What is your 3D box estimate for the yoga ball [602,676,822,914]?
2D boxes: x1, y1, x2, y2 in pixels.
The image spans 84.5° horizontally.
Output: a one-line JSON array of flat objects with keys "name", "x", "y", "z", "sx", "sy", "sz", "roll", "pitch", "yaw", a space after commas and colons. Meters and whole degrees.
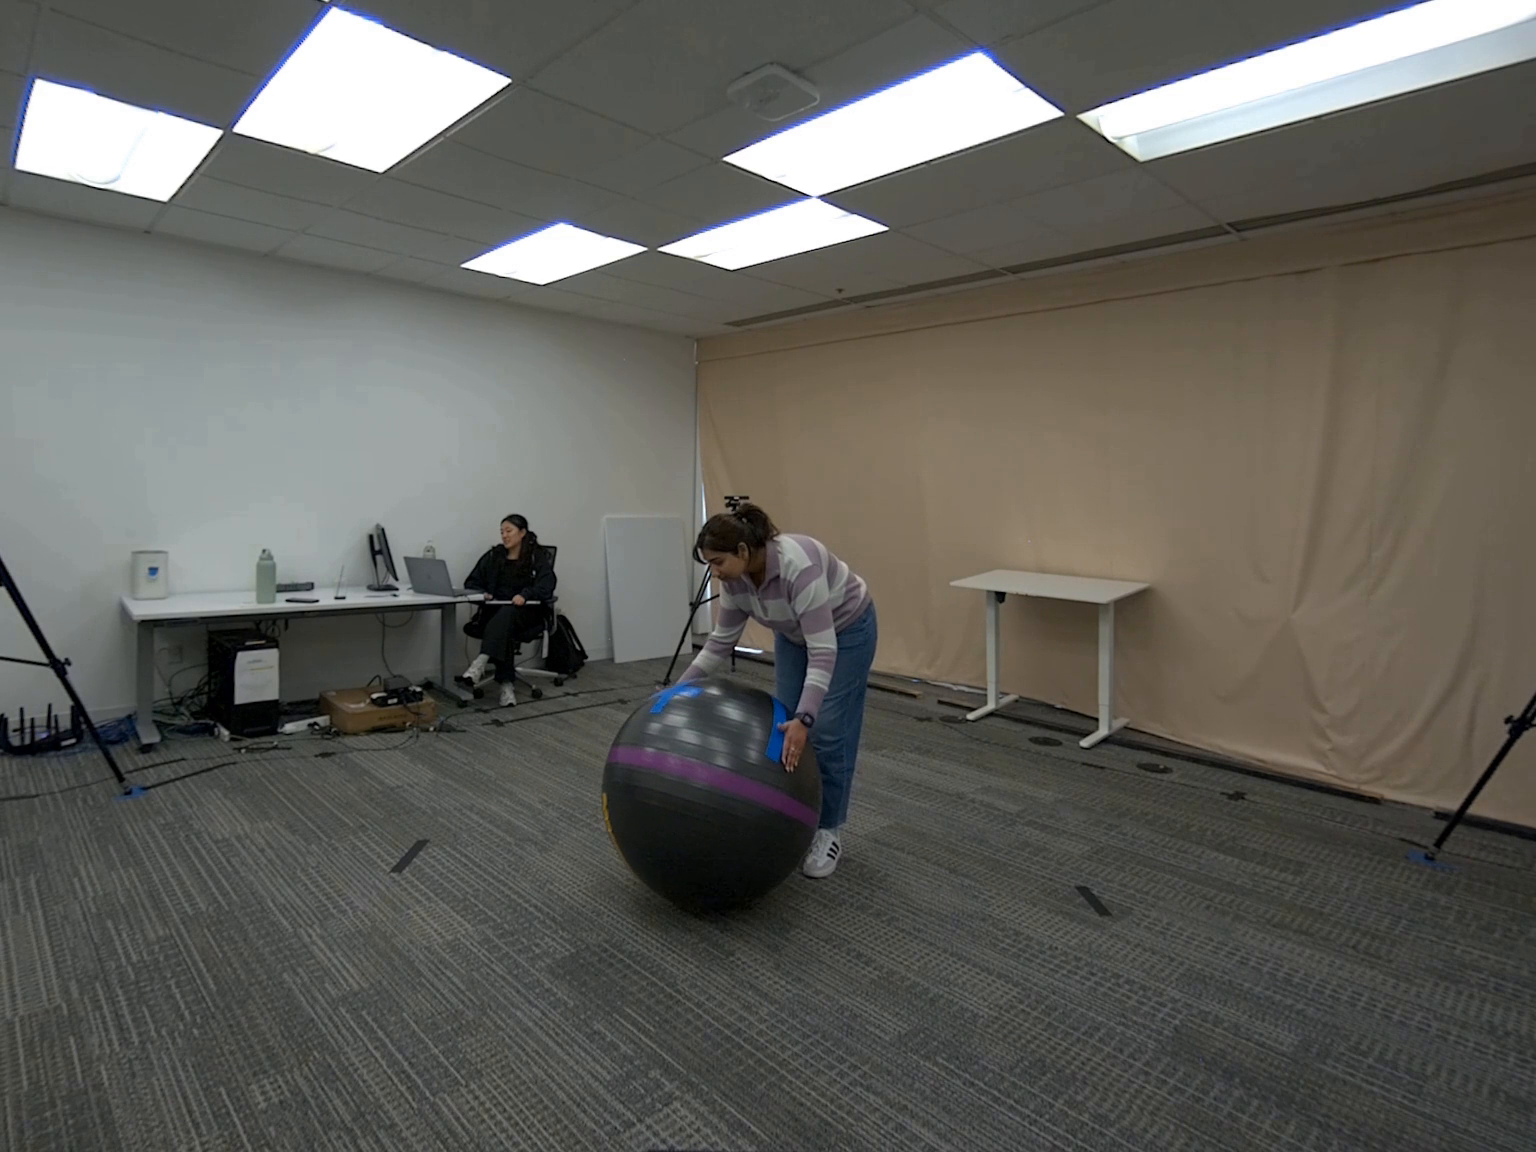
[{"name": "yoga ball", "x": -0.203, "y": 0.742, "z": 2.911, "sx": 0.757, "sy": 0.756, "sz": 0.761, "roll": 1, "pitch": 4, "yaw": -1}]
